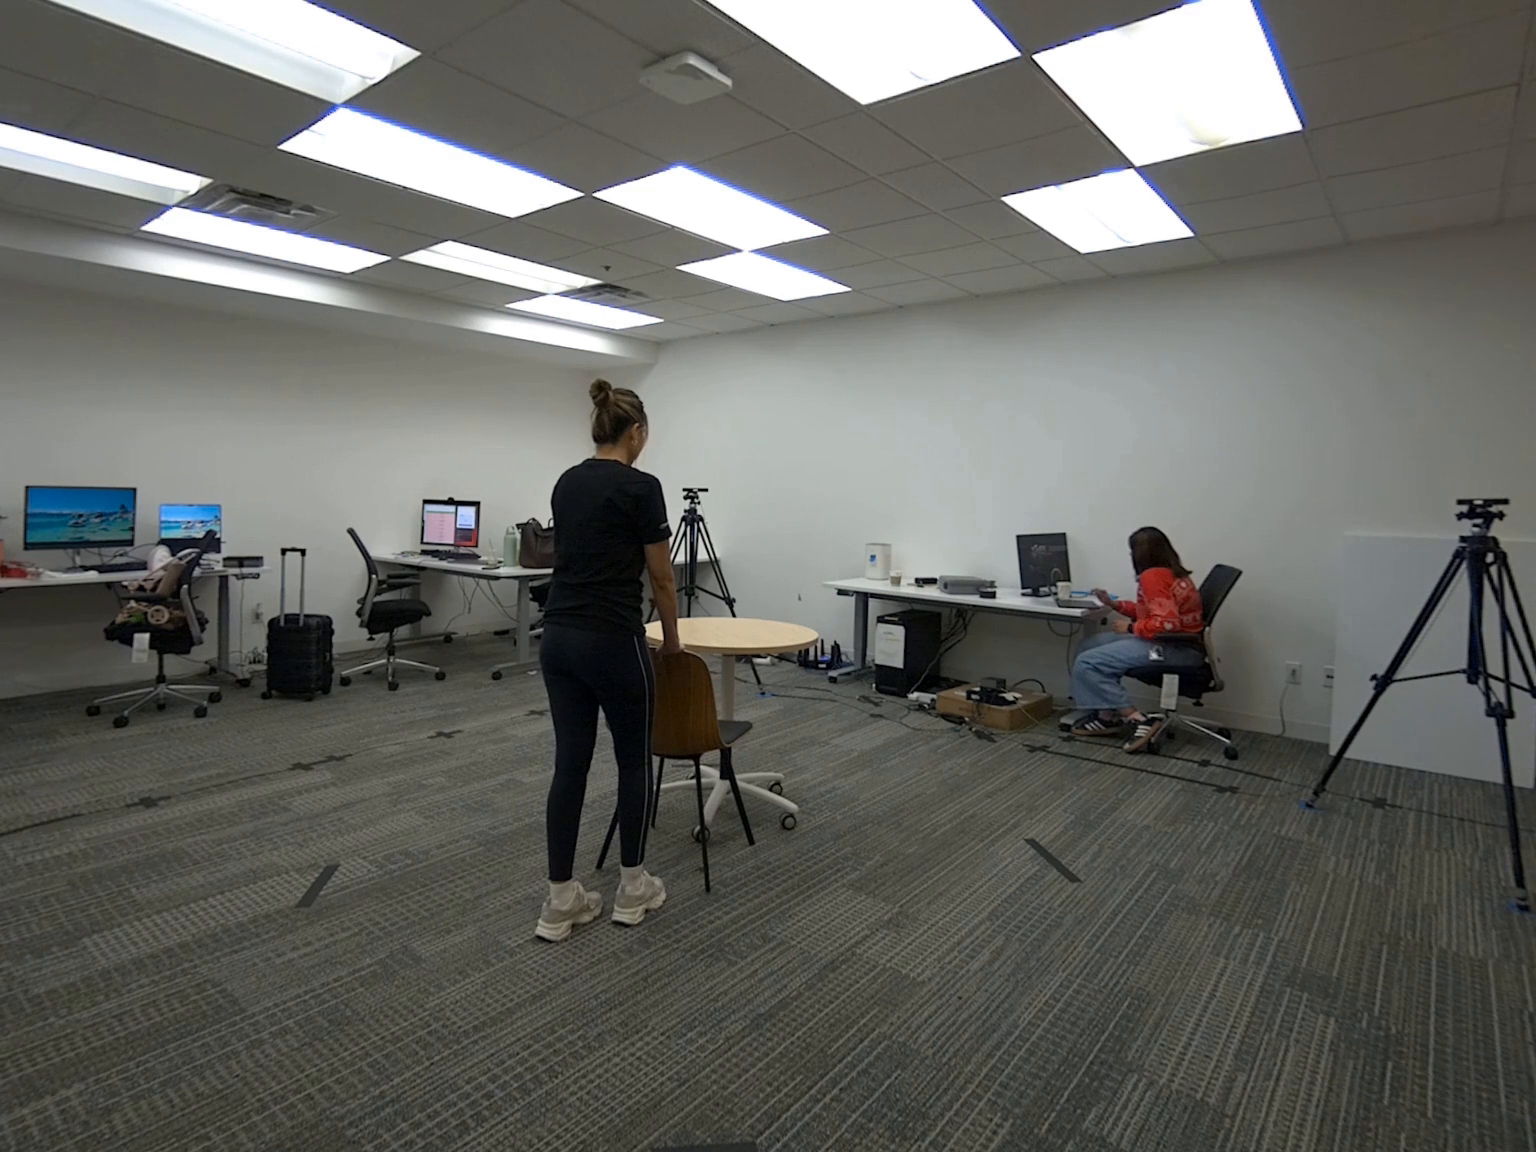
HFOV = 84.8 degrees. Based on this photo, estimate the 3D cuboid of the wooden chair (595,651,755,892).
[{"bbox_3d":[-0.340,0.630,3.195,0.489,0.872,0.515,2,7,21],"label":"wooden chair"}]
